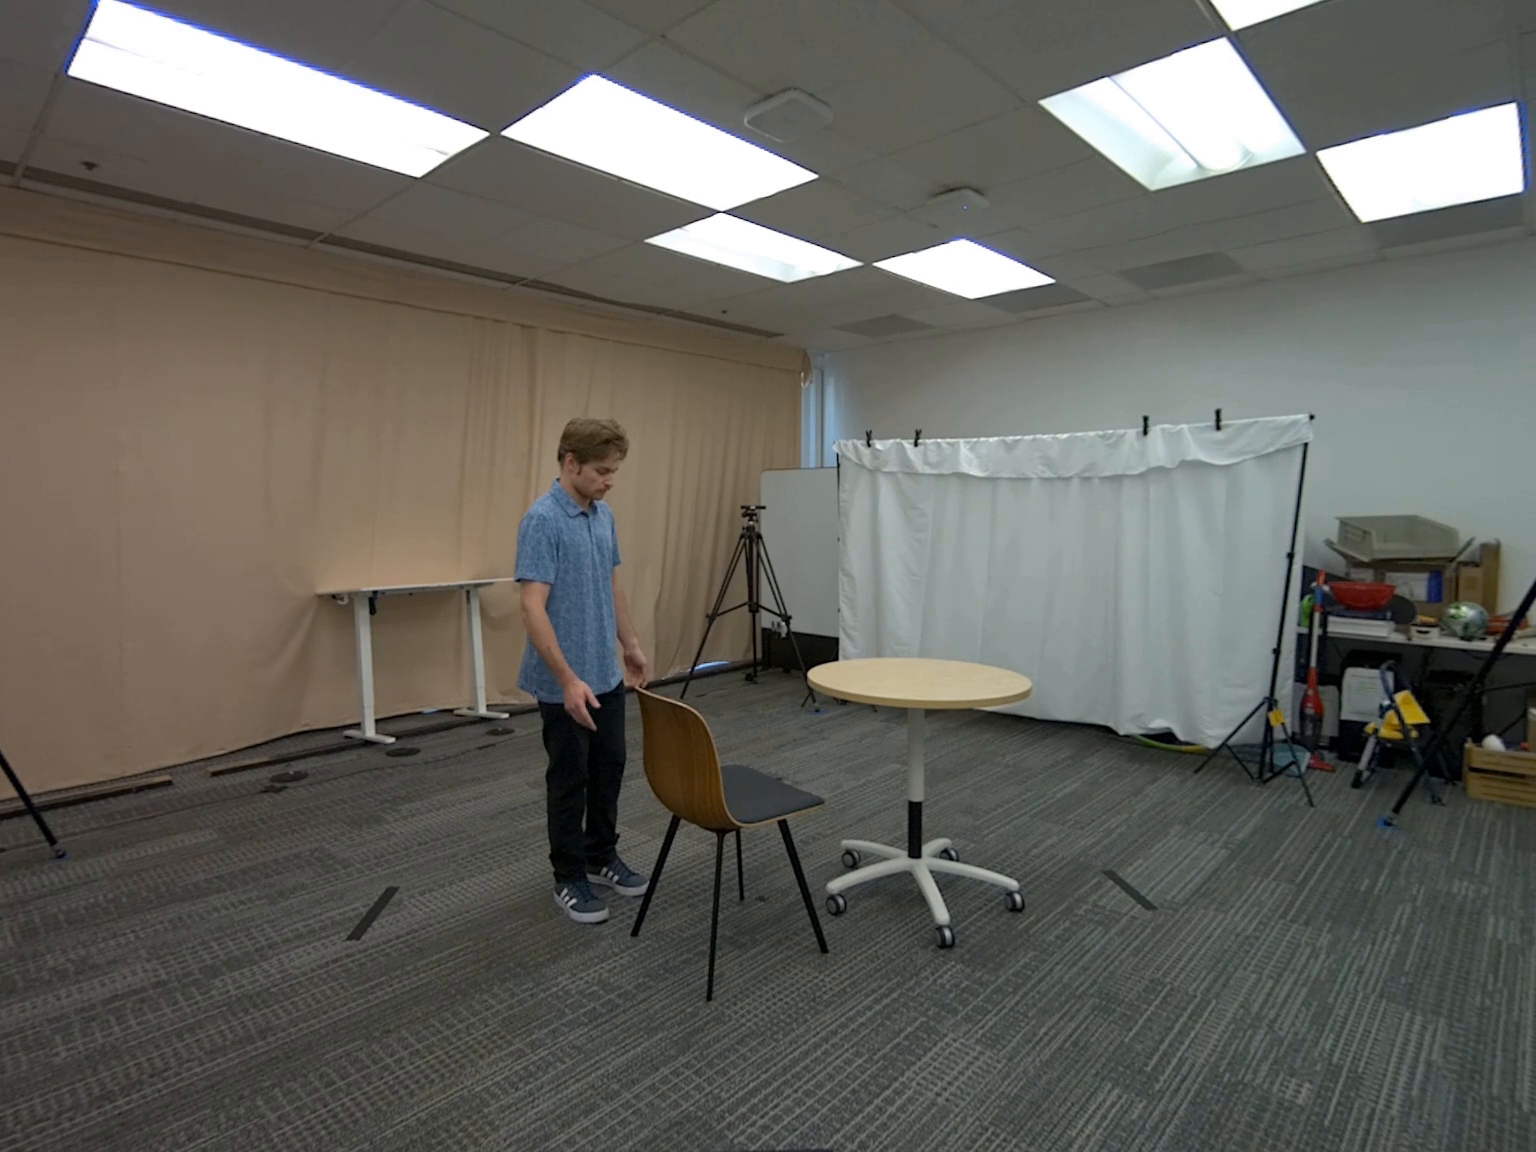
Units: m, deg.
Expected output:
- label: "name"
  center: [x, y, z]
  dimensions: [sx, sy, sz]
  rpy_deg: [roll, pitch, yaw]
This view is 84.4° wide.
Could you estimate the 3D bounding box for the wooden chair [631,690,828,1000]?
- label: "wooden chair"
  center: [-0.121, 0.745, 2.651]
  dimensions: [0.509, 0.874, 0.493]
  rpy_deg: [-8, 7, -37]
